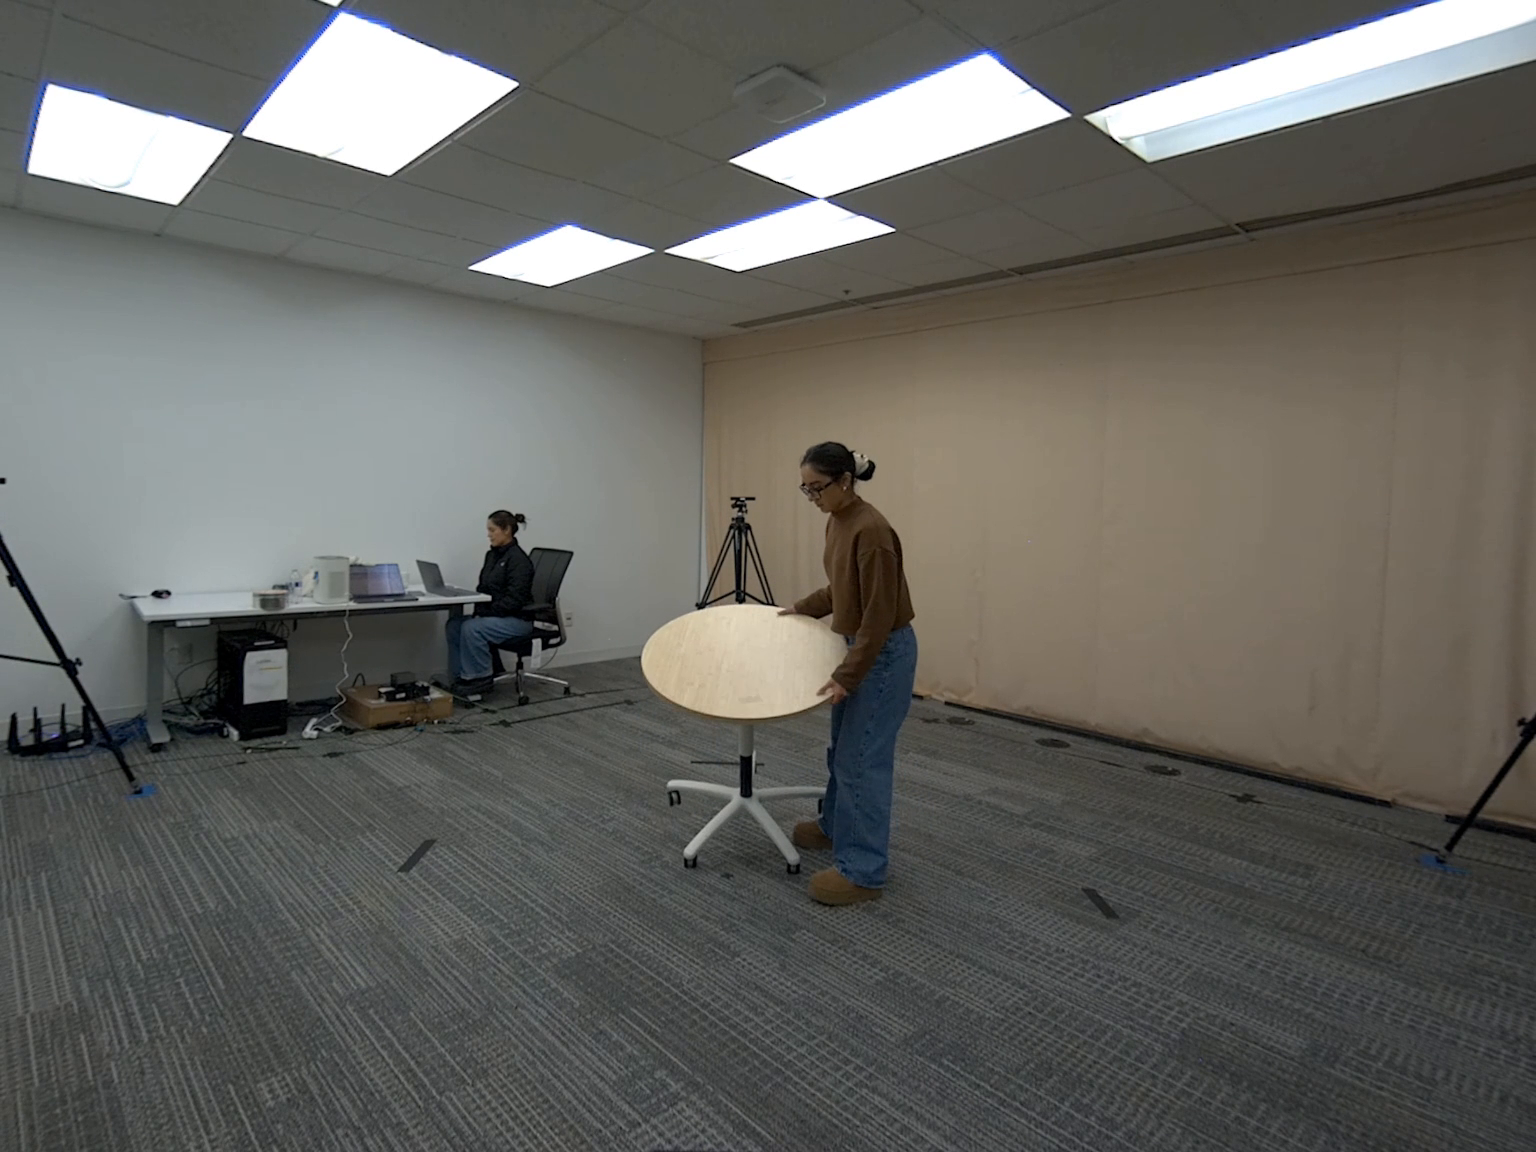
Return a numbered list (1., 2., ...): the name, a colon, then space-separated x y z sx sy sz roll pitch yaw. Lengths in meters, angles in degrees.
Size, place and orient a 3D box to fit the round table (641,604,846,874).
1. round table: -0.087 0.642 3.243 0.763 0.781 0.777 0 25 -1
